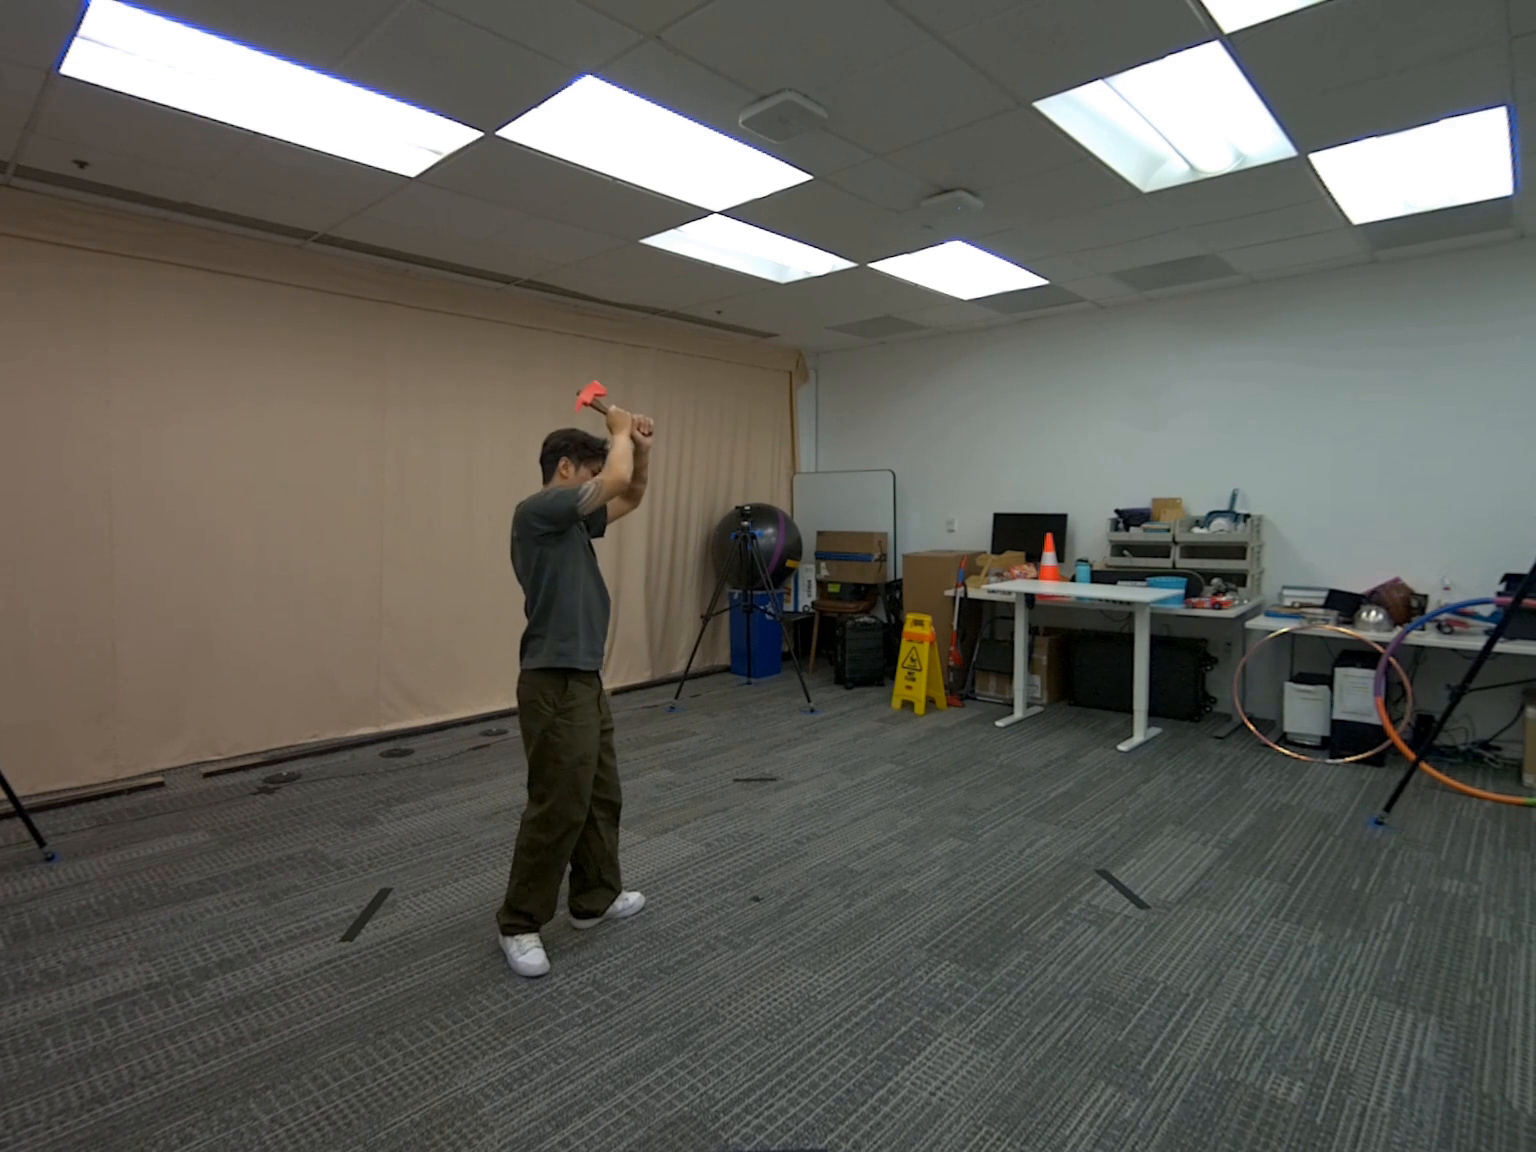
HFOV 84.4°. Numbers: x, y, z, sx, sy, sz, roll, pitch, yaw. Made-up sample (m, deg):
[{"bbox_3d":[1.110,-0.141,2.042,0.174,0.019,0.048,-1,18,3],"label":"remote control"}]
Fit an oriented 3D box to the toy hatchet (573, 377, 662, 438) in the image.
[{"bbox_3d":[-0.487,-0.545,2.741,0.264,0.133,0.030,12,-26,-18],"label":"toy hatchet"}]
